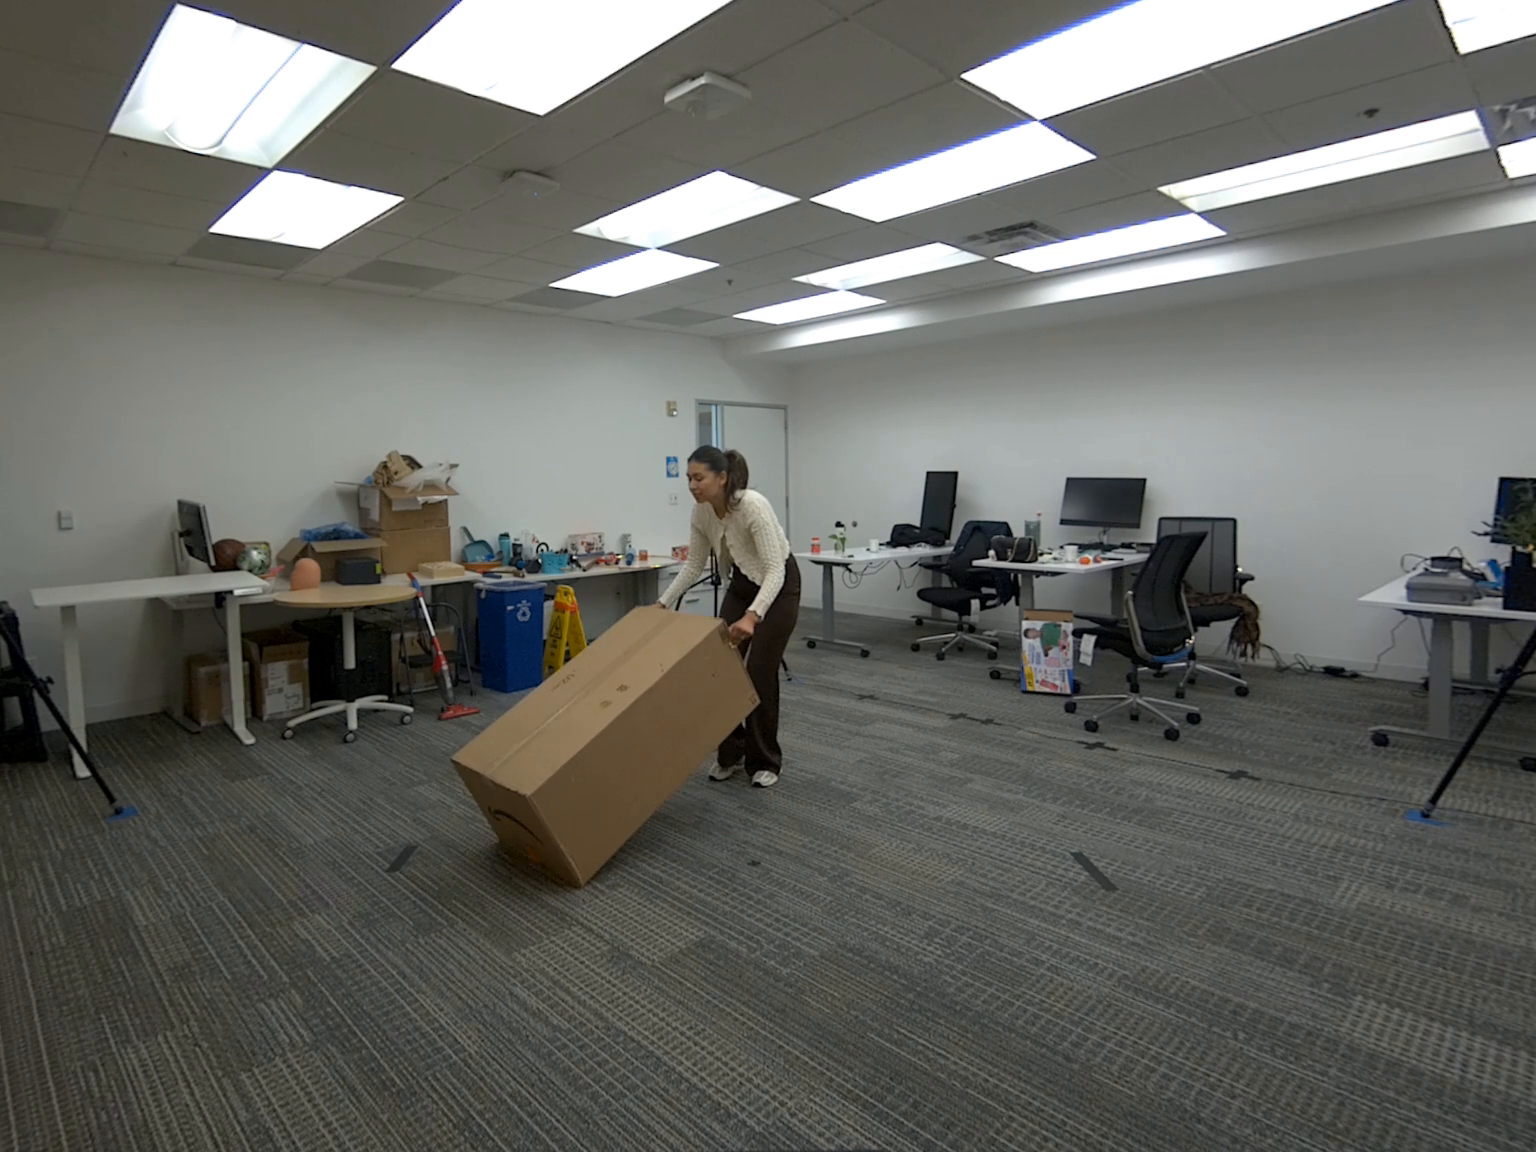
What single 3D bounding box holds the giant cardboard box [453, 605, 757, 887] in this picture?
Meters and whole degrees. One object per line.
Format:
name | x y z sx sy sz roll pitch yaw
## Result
giant cardboard box | -0.615 0.607 3.354 0.595 0.415 1.021 4 35 45
